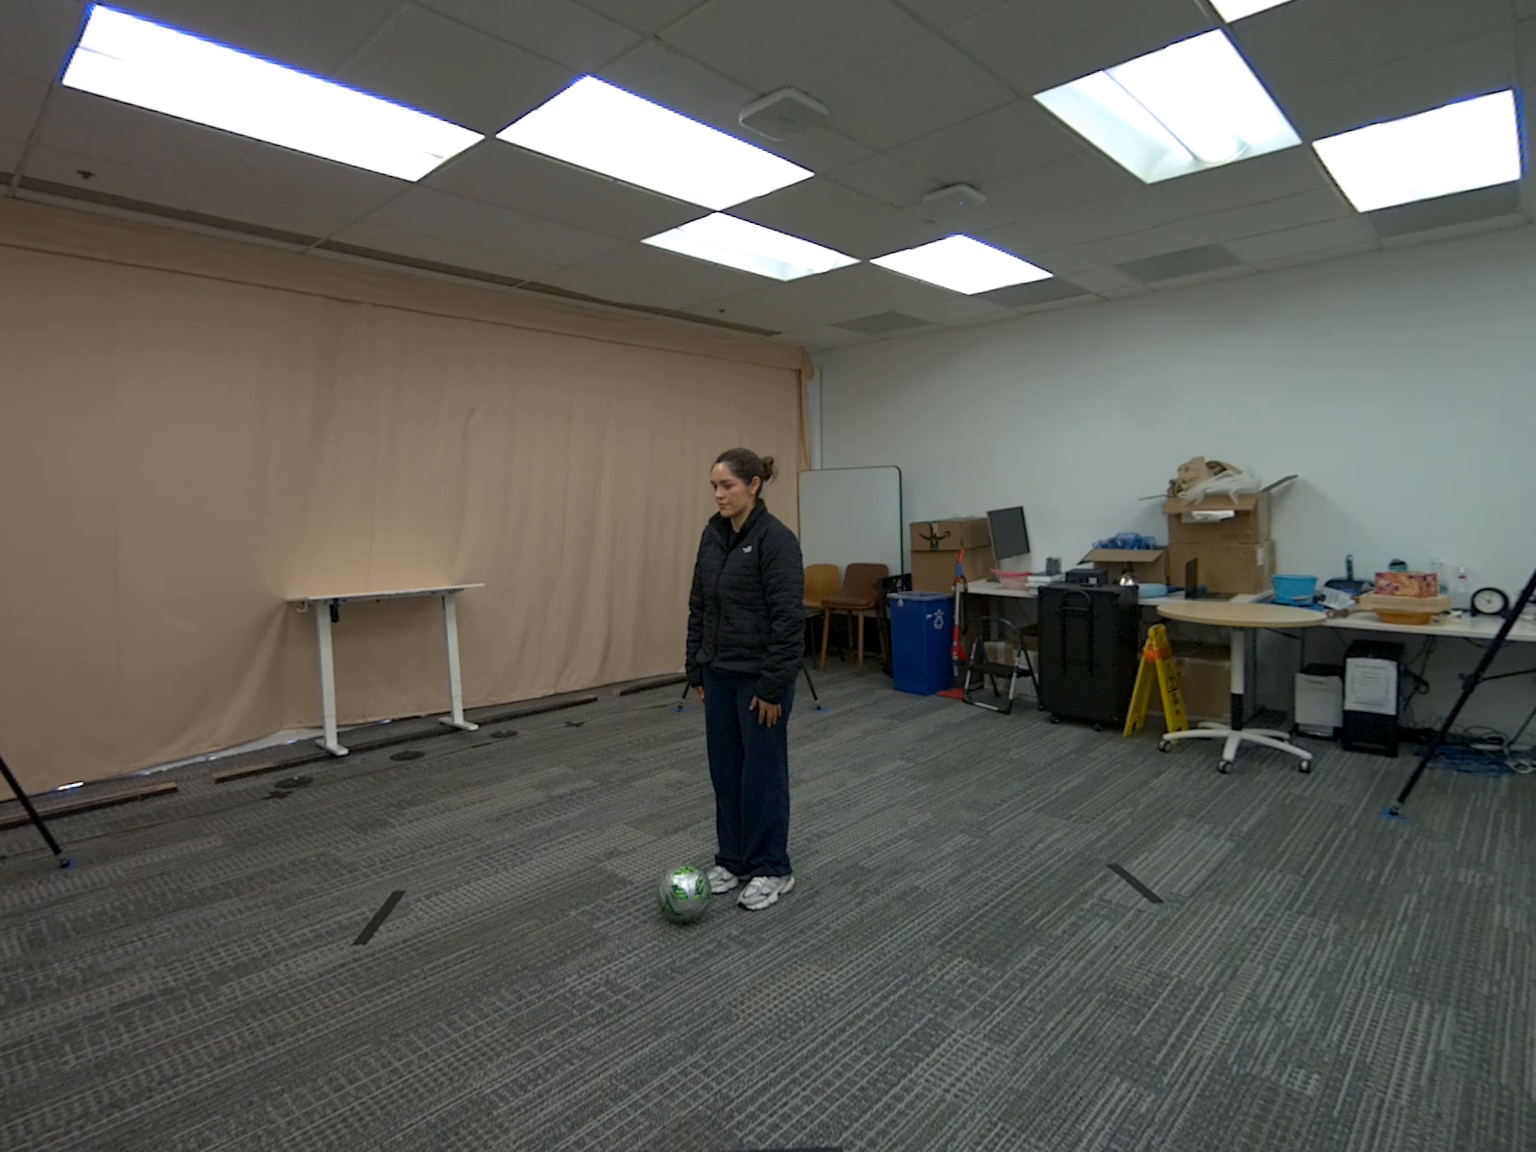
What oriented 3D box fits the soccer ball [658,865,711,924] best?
[{"bbox_3d":[-0.283,1.062,2.830,0.187,0.187,0.188,-1,4,-2],"label":"soccer ball"}]
